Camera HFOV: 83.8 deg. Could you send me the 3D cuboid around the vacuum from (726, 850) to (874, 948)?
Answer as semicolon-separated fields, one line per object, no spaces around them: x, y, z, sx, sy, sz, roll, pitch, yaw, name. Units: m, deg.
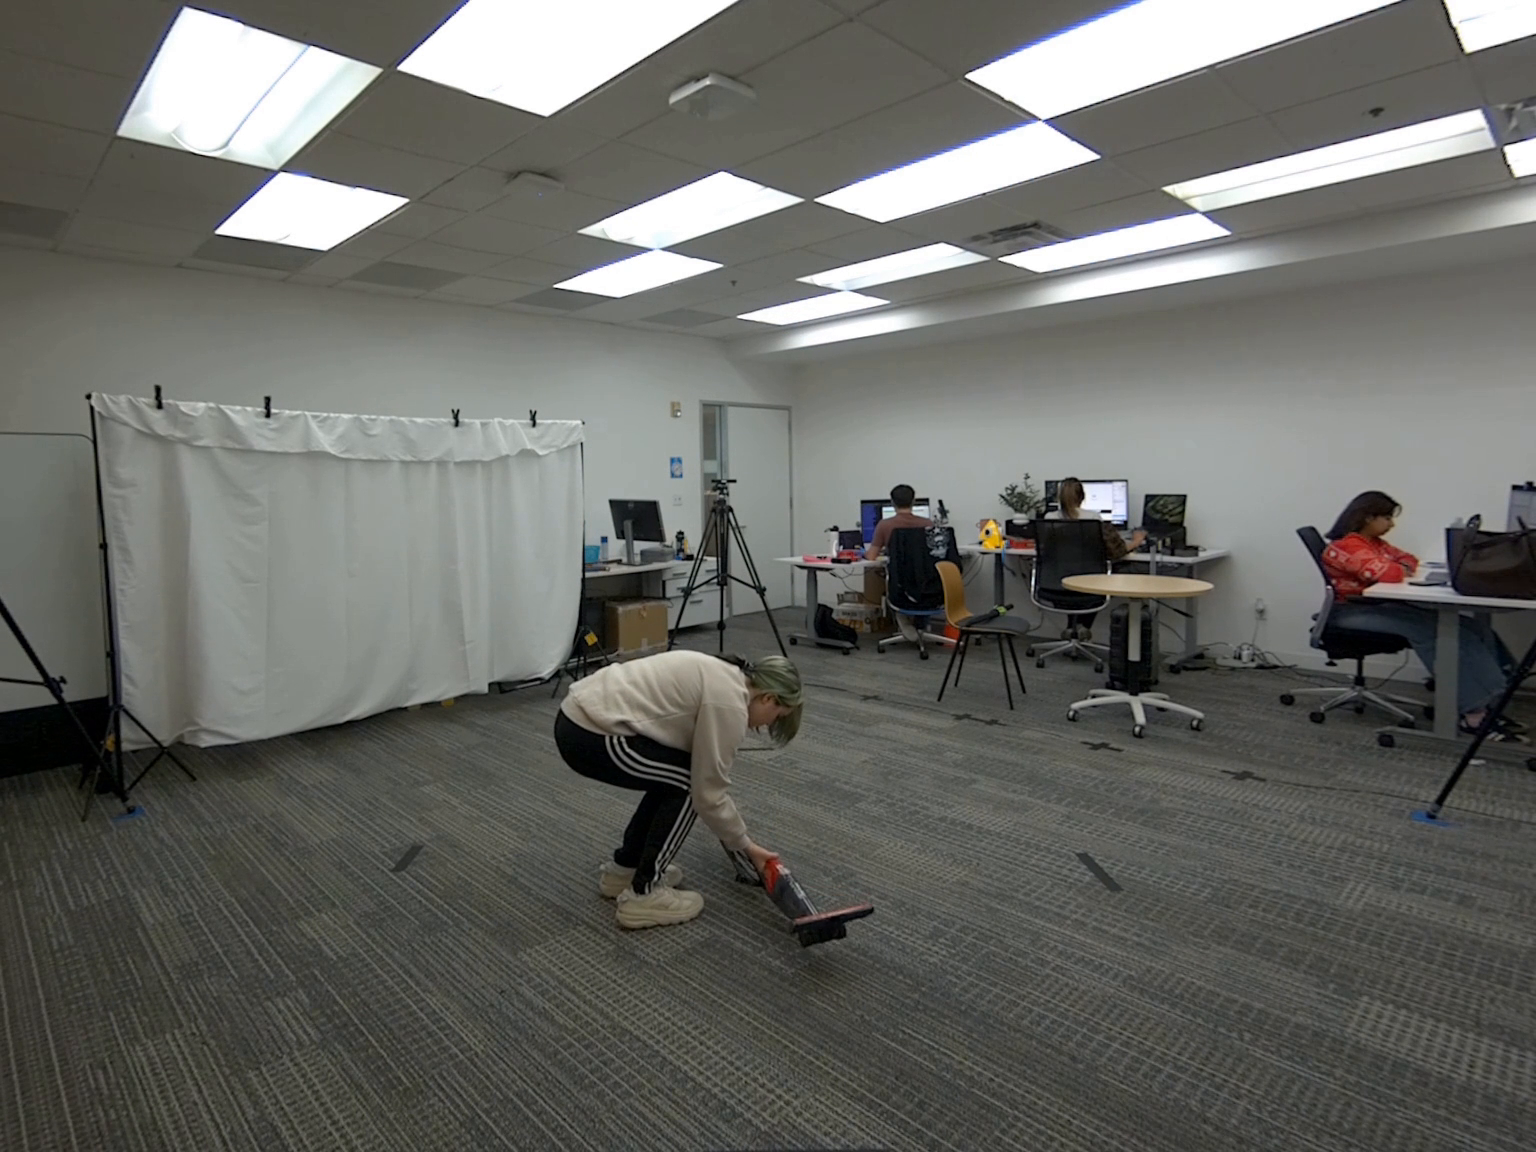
-0.044;0.969;2.902;0.248;0.144;1.071;-6;4;-24;vacuum
